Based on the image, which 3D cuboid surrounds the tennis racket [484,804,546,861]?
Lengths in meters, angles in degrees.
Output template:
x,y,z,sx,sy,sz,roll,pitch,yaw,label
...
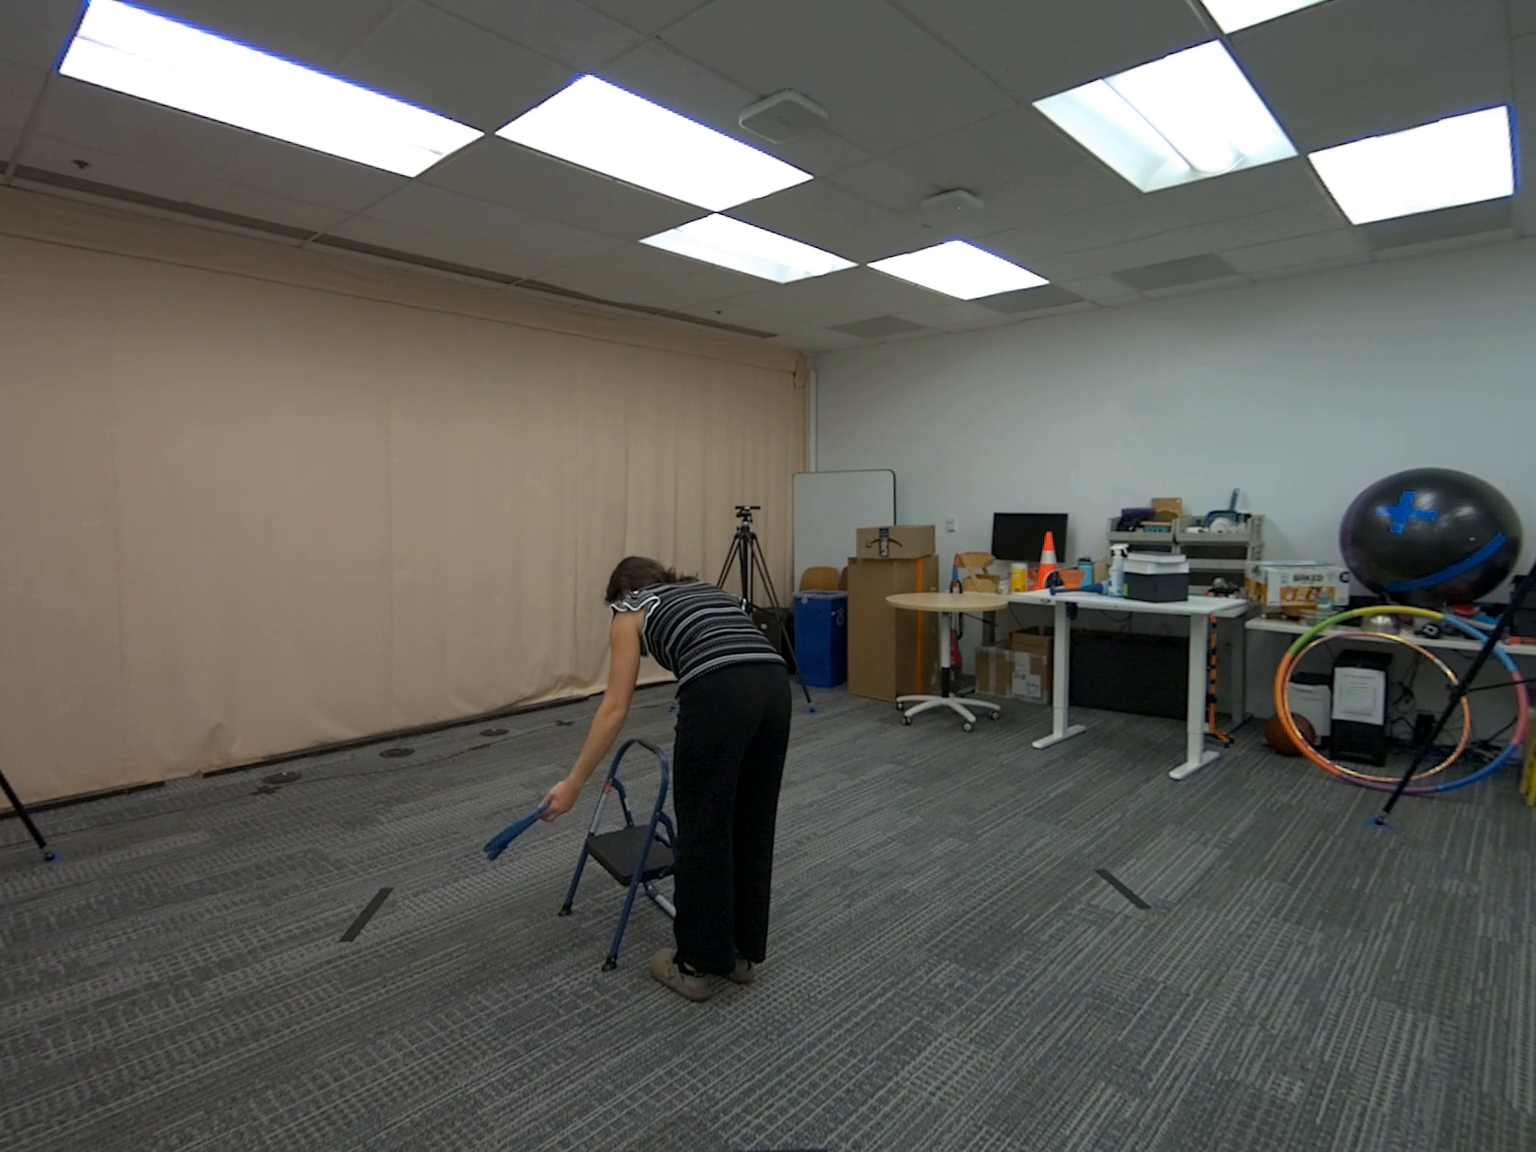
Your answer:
x,y,z,sx,sy,sz,roll,pitch,yaw,label
-0.736,0.774,2.481,0.209,0.032,0.433,-23,-20,-36,tennis racket
